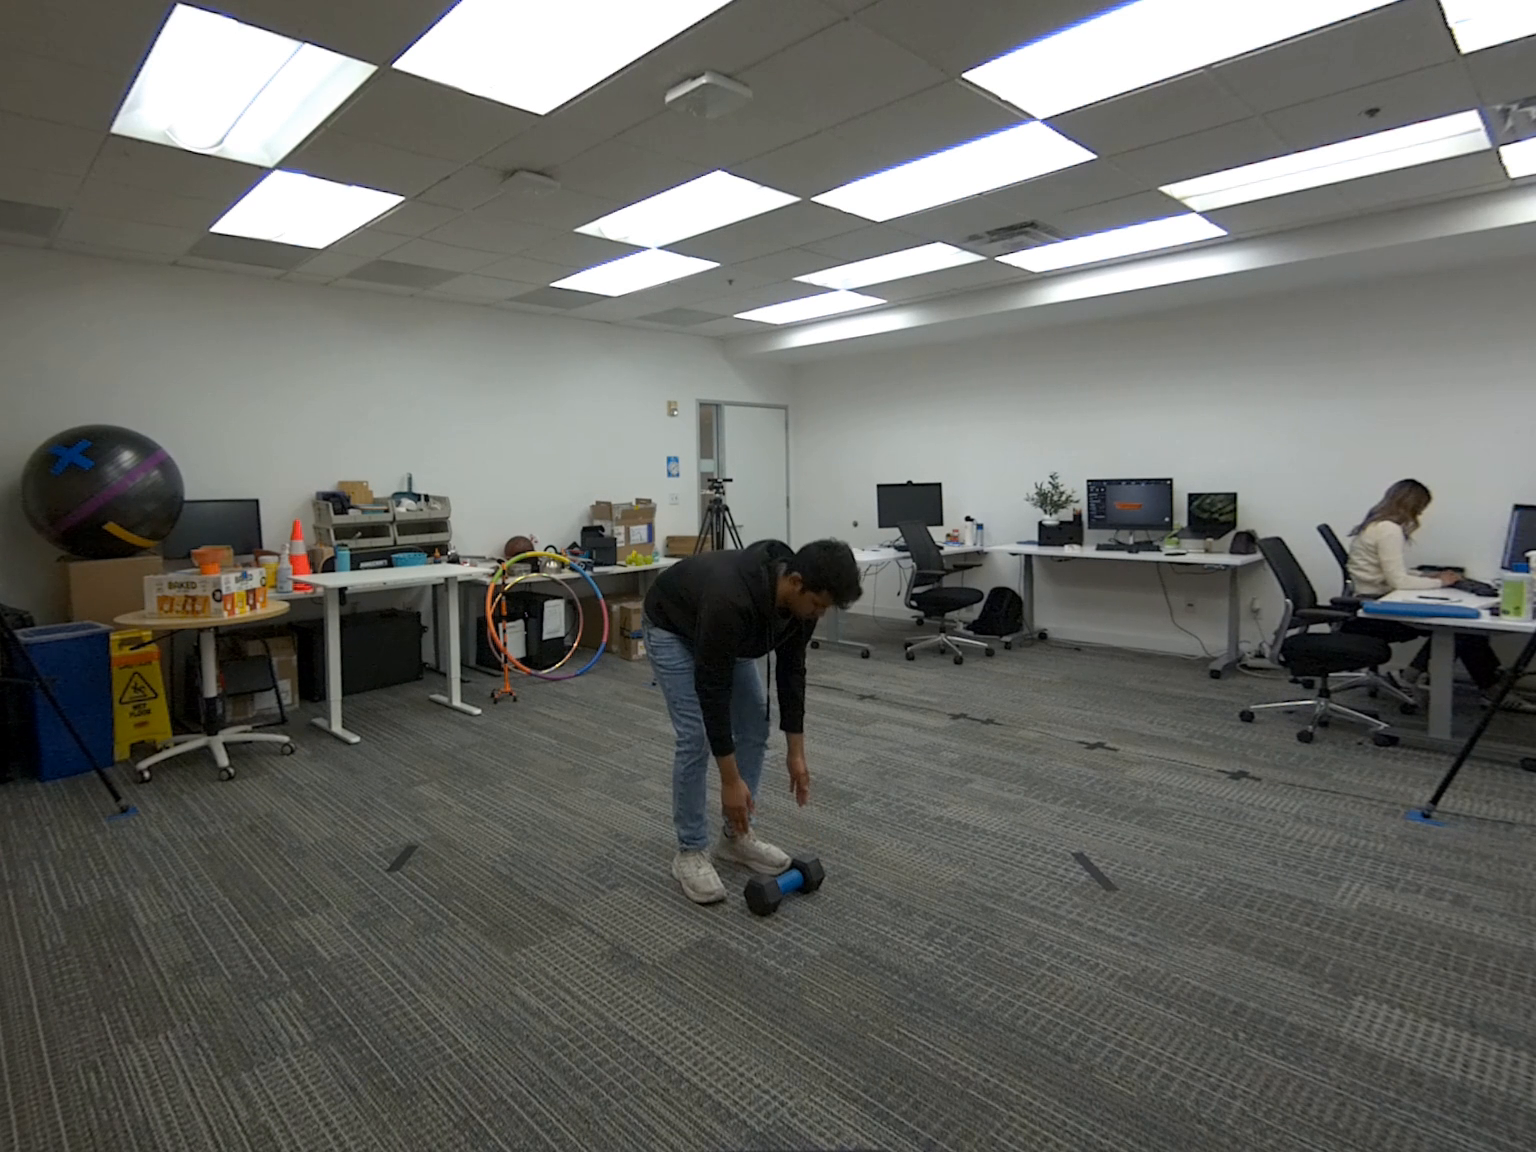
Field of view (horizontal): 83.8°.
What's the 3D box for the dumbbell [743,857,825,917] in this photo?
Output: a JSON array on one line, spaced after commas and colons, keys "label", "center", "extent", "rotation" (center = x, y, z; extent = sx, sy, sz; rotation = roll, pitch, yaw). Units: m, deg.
[{"label": "dumbbell", "center": [0.059, 1.017, 2.833], "extent": [0.286, 0.121, 0.113], "rotation": [-6, 35, -44]}]
